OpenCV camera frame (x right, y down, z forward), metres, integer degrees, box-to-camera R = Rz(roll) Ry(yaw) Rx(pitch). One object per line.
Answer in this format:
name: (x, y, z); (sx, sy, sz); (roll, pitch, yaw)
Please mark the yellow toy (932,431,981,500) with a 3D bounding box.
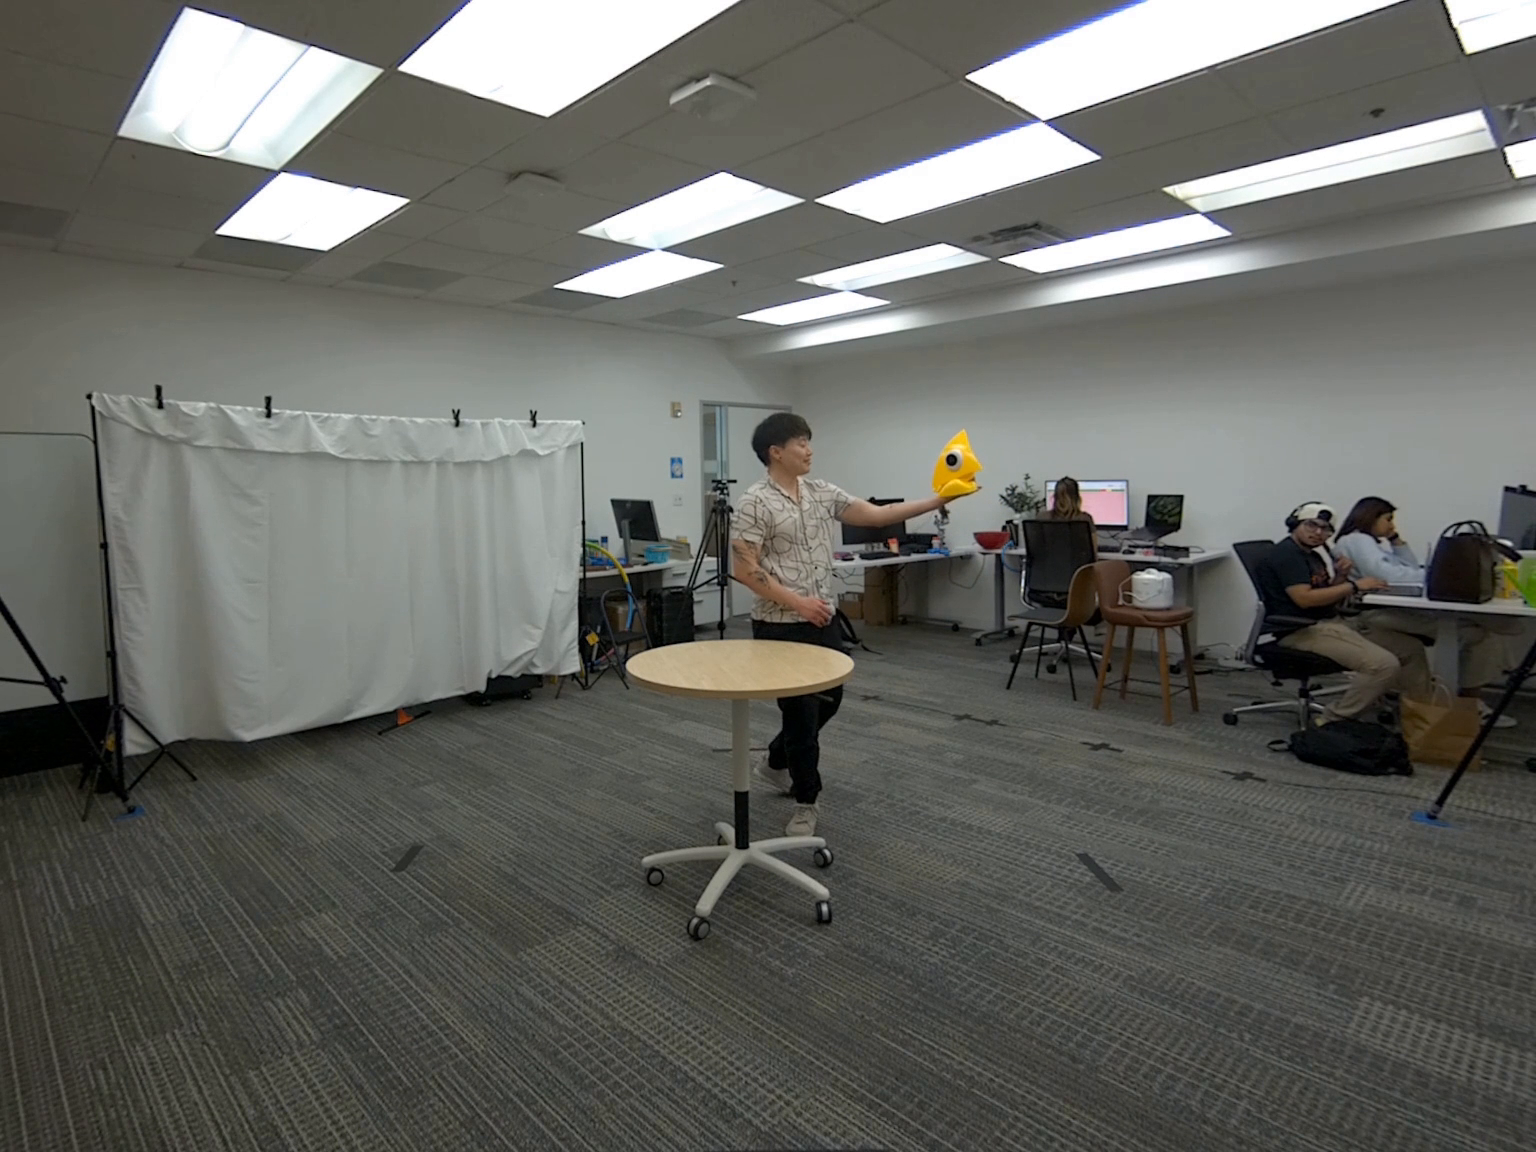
yellow toy: (0.726, -0.447, 3.328); (0.194, 0.228, 0.206); (-11, 12, 8)
